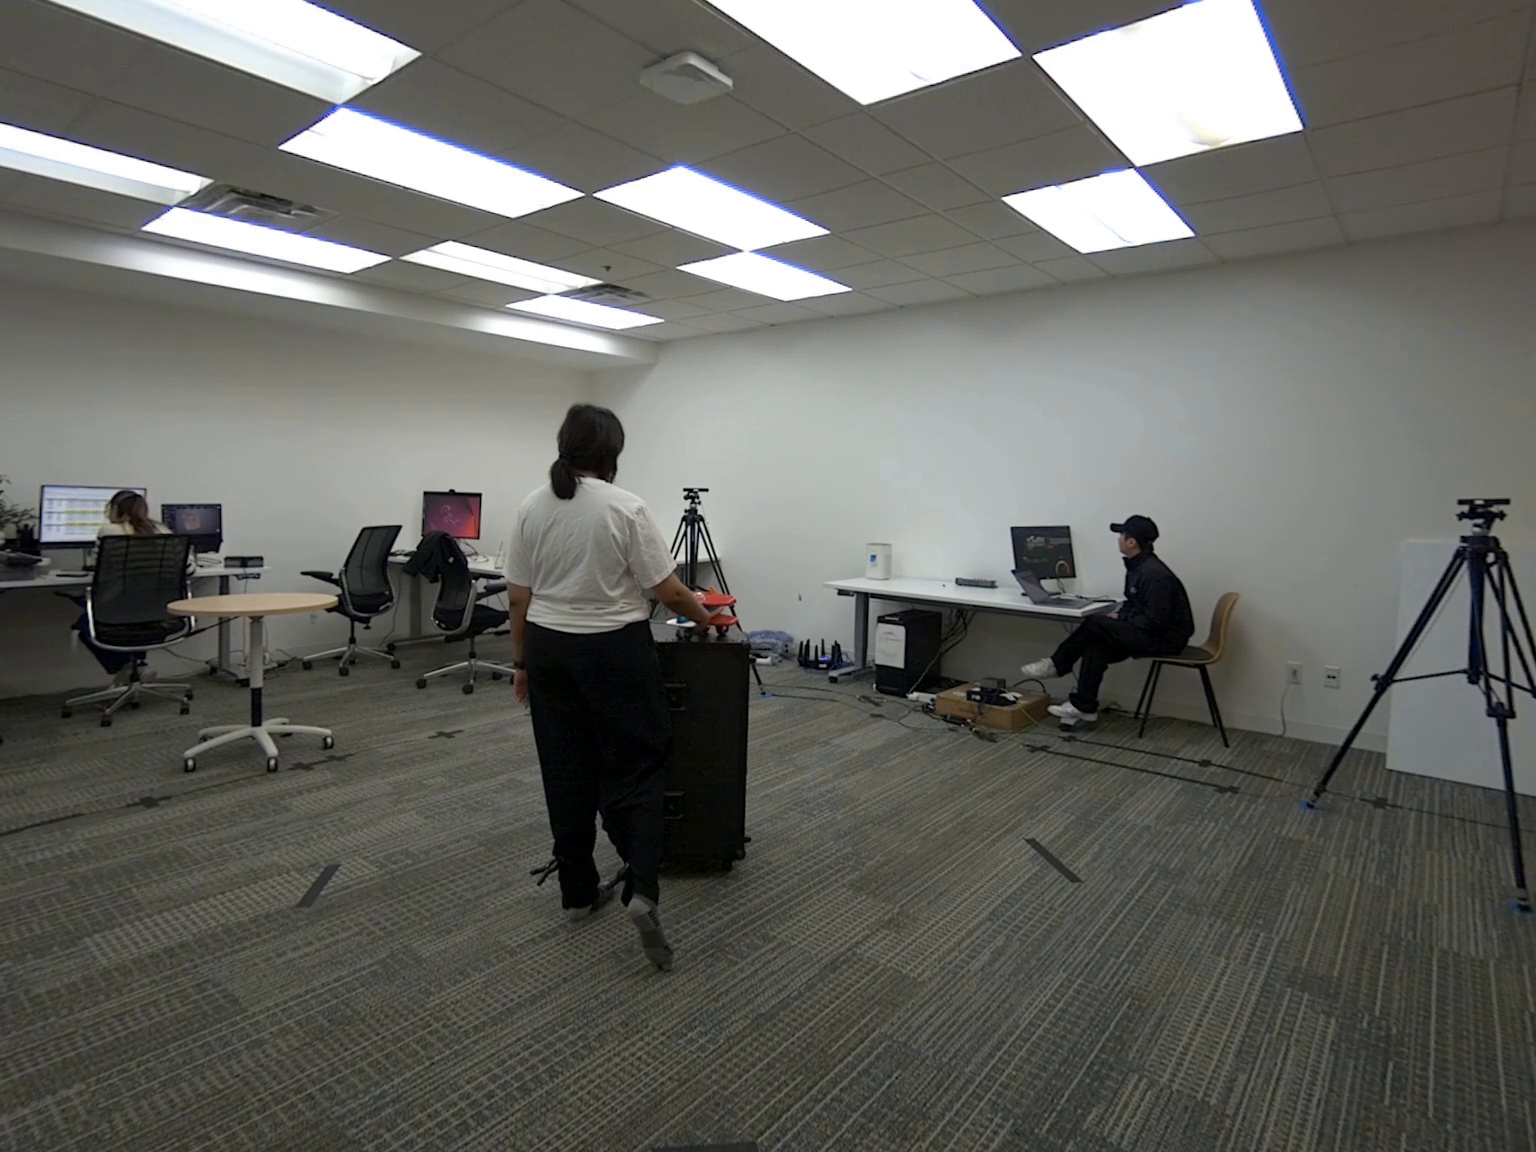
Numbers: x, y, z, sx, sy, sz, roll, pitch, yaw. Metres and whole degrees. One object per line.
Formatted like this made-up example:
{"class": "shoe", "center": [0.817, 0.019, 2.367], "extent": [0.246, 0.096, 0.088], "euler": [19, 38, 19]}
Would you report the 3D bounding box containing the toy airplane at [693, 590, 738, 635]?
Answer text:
{"class": "toy airplane", "center": [-0.248, 0.138, 3.113], "extent": [0.253, 0.156, 0.258], "euler": [3, 3, 5]}
